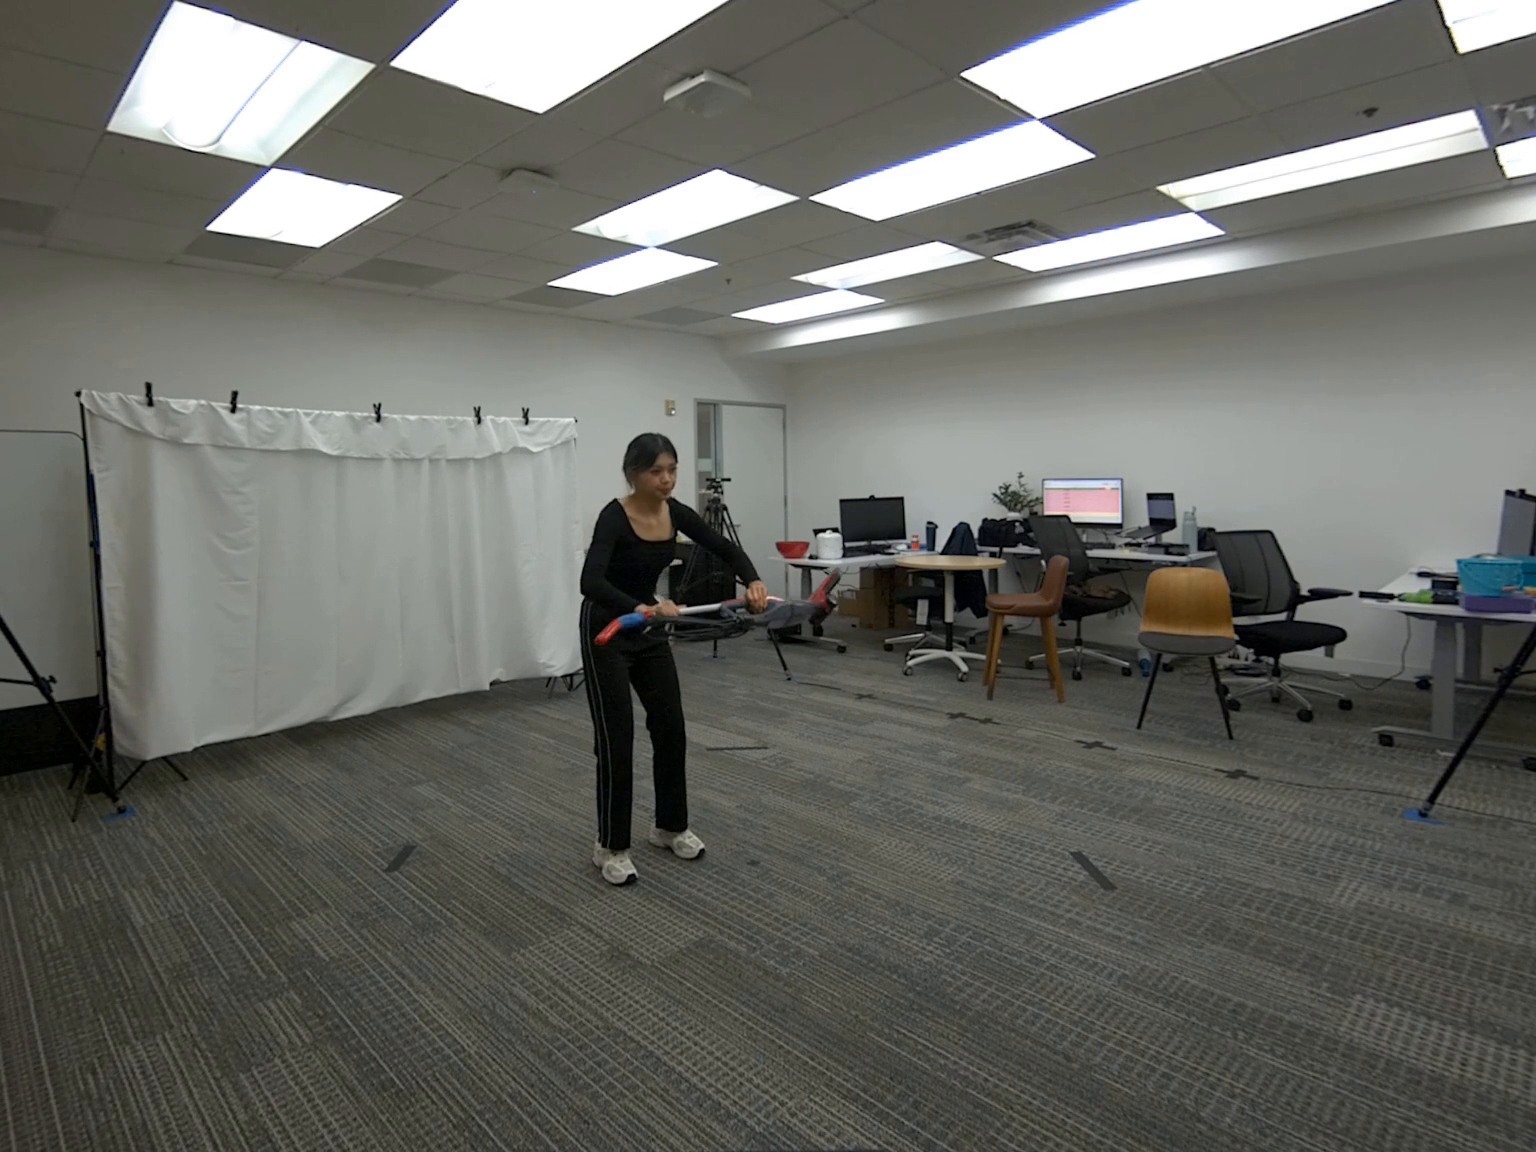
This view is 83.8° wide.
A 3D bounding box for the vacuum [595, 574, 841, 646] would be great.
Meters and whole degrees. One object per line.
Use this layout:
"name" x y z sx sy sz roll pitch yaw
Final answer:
"vacuum" -0.143 0.138 2.815 1.022 0.148 0.252 -7 -34 -46
